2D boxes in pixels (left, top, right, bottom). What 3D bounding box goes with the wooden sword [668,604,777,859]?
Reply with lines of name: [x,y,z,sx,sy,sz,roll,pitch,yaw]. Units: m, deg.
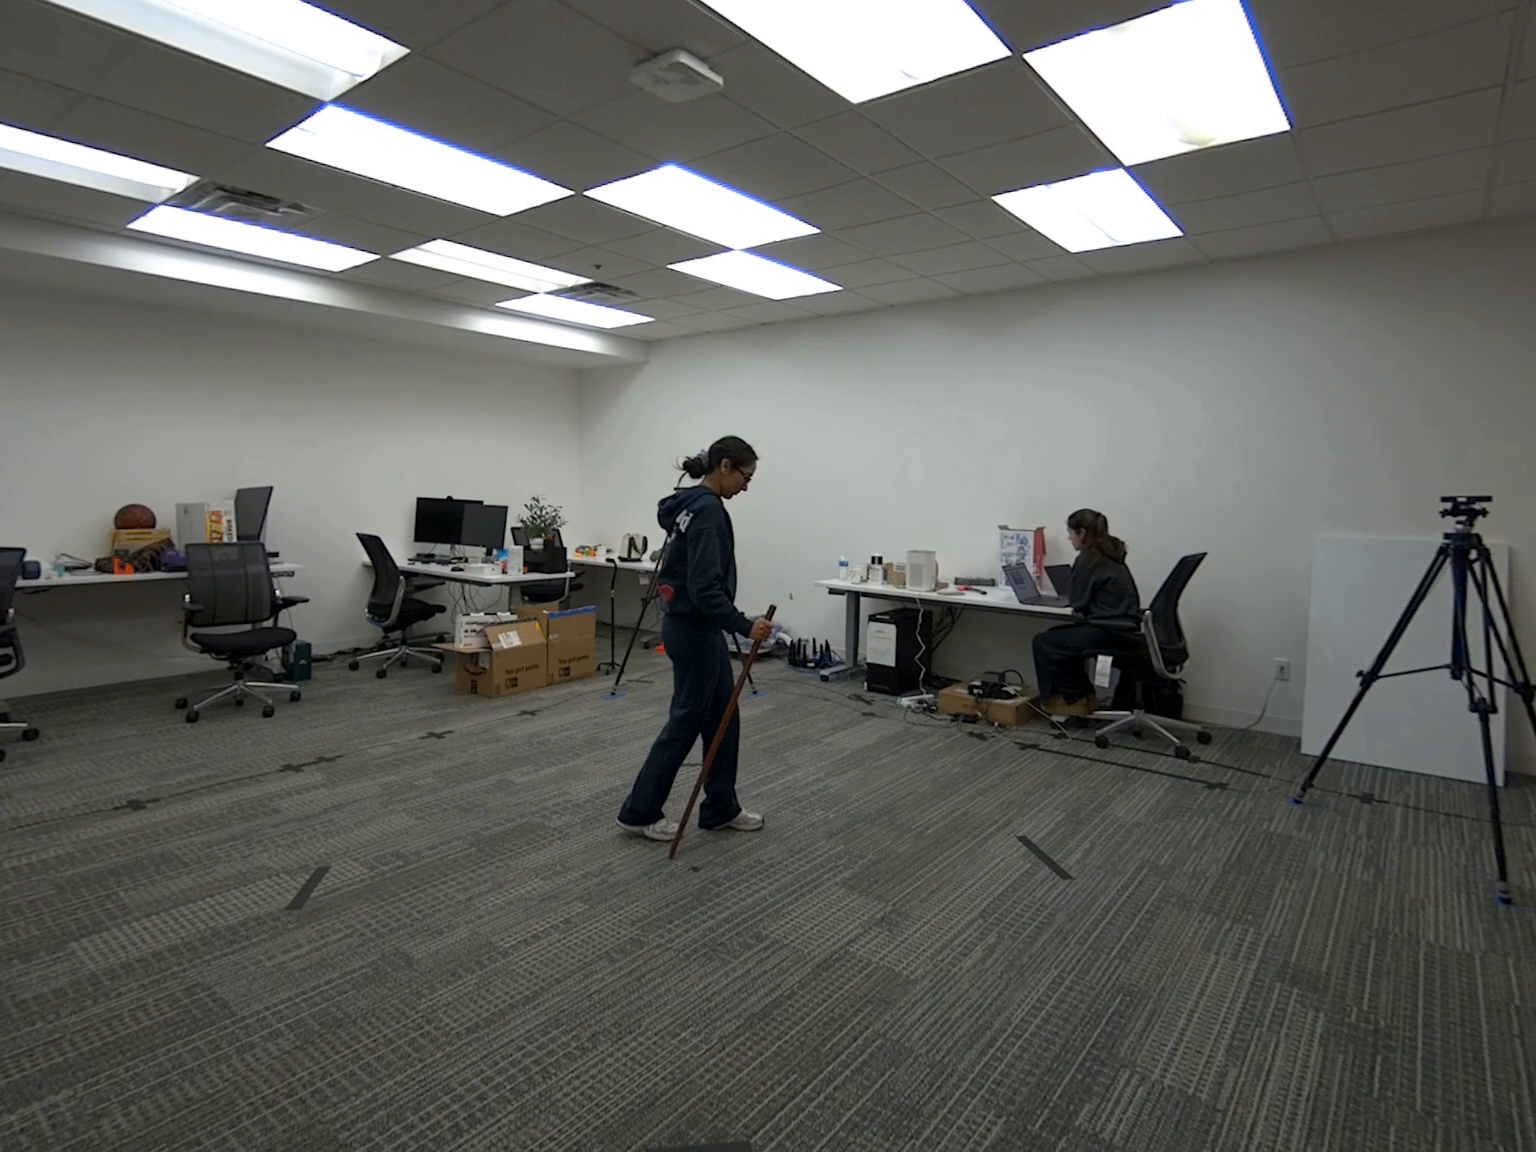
wooden sword: [-0.182,0.585,3.158,0.023,1.023,0.053,20,3,-45]
